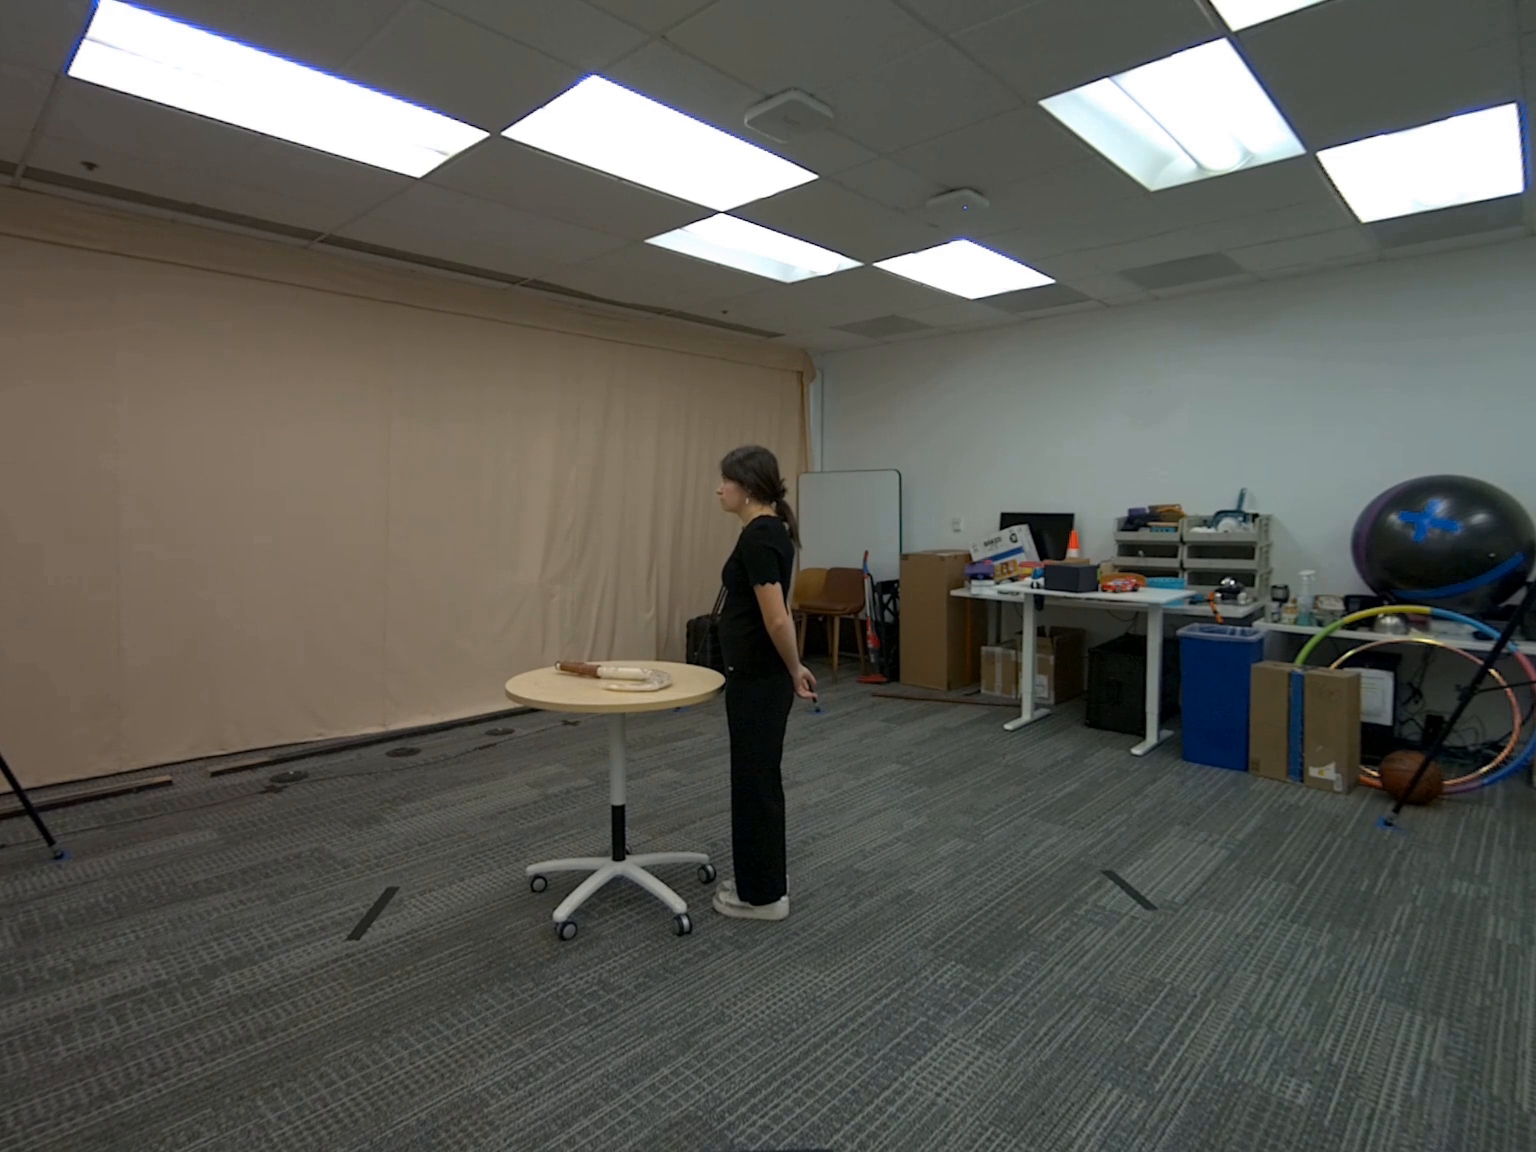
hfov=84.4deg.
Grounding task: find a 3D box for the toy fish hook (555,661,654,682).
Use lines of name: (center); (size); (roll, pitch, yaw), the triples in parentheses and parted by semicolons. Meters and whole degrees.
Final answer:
toy fish hook: (-0.573, 0.351, 2.924); (0.521, 0.048, 0.218); (3, 2, 28)
